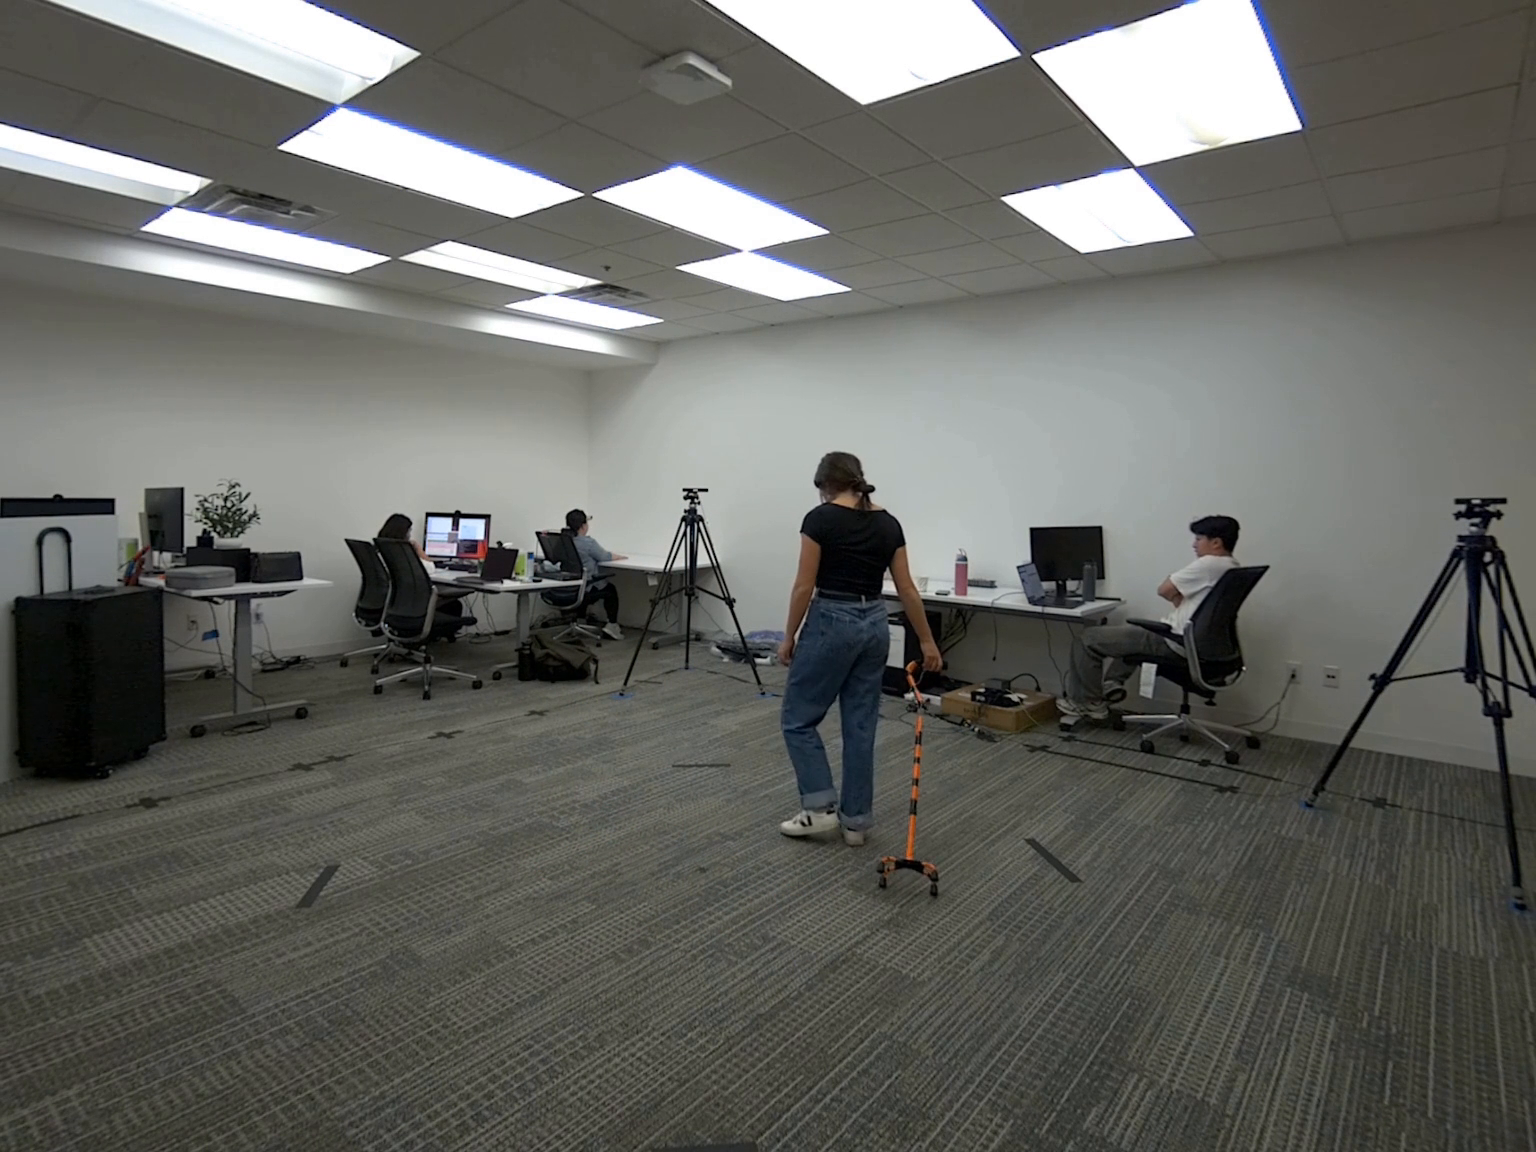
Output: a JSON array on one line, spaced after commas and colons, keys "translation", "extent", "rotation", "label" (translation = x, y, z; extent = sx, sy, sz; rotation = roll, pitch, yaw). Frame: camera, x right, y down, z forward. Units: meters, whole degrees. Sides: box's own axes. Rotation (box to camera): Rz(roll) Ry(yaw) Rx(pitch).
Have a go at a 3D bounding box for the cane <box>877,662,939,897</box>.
[{"translation": [0.571, 0.700, 3.213], "extent": [0.210, 0.925, 0.146], "rotation": [2, -40, 15], "label": "cane"}]
